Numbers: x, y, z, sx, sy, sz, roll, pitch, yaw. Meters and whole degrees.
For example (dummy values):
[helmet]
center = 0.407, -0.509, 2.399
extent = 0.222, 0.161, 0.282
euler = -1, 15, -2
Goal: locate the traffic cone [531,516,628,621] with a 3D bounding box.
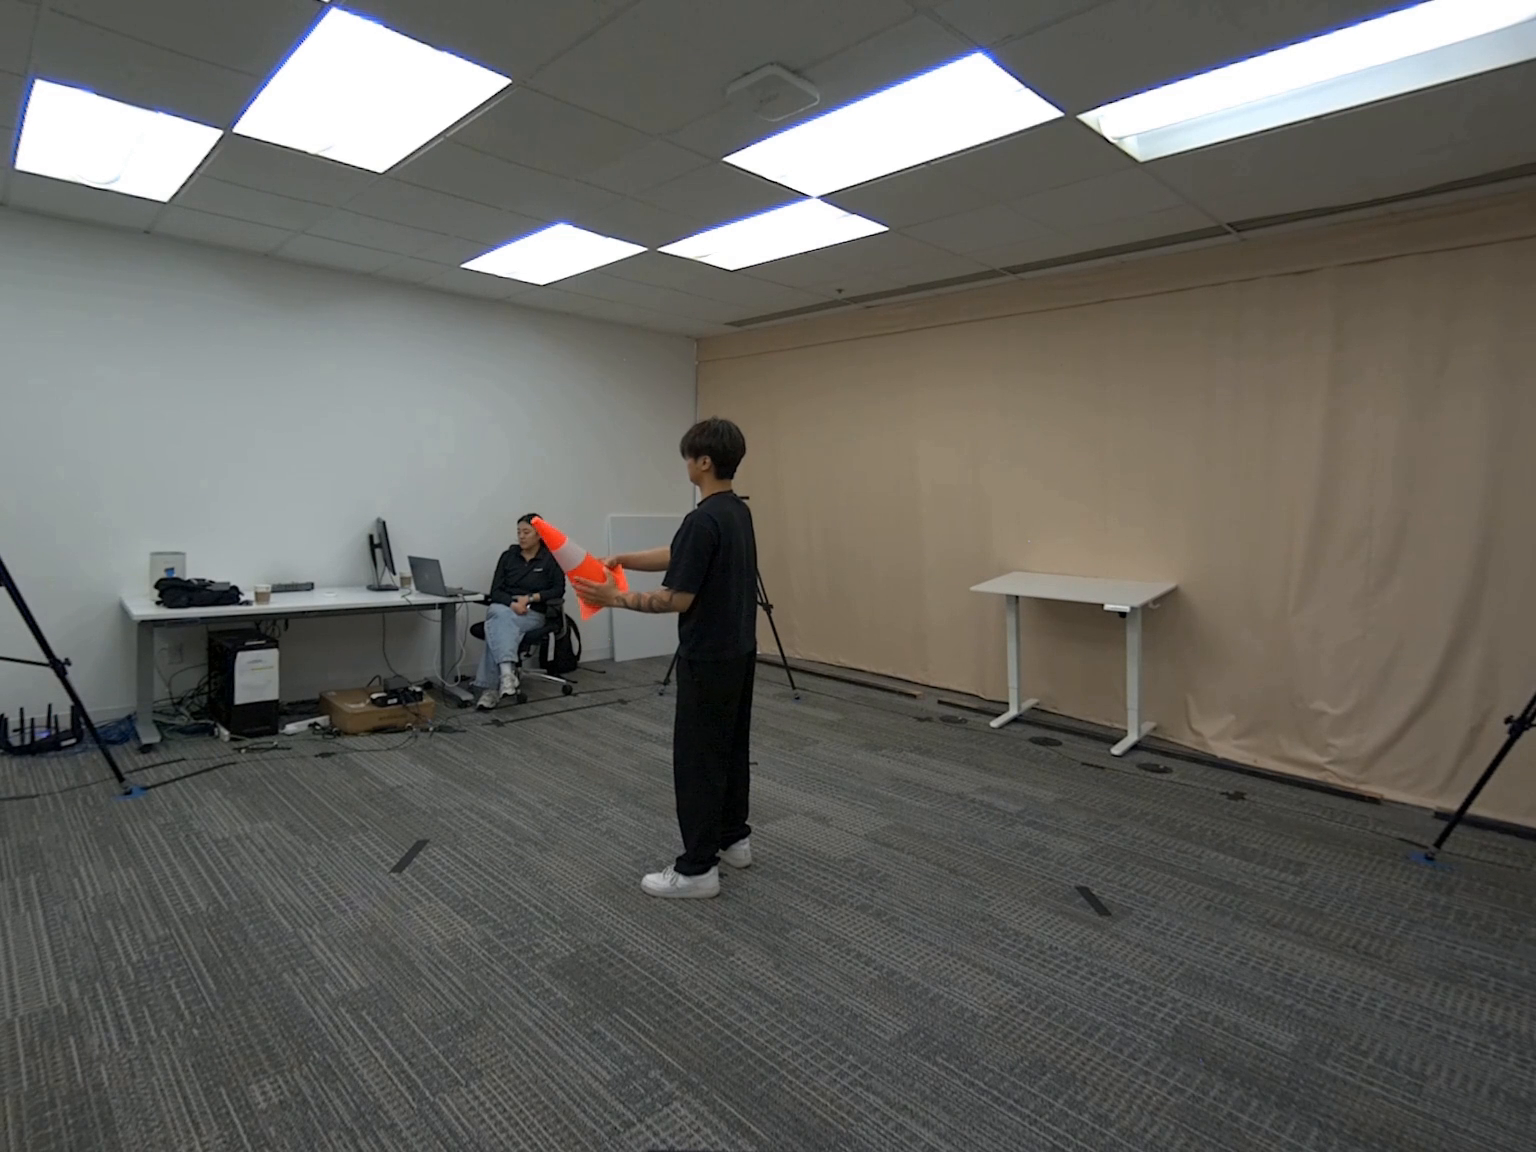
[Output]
[traffic cone]
center = -0.693, -0.065, 2.935
extent = 0.205, 0.373, 0.209
euler = -35, 32, 6
